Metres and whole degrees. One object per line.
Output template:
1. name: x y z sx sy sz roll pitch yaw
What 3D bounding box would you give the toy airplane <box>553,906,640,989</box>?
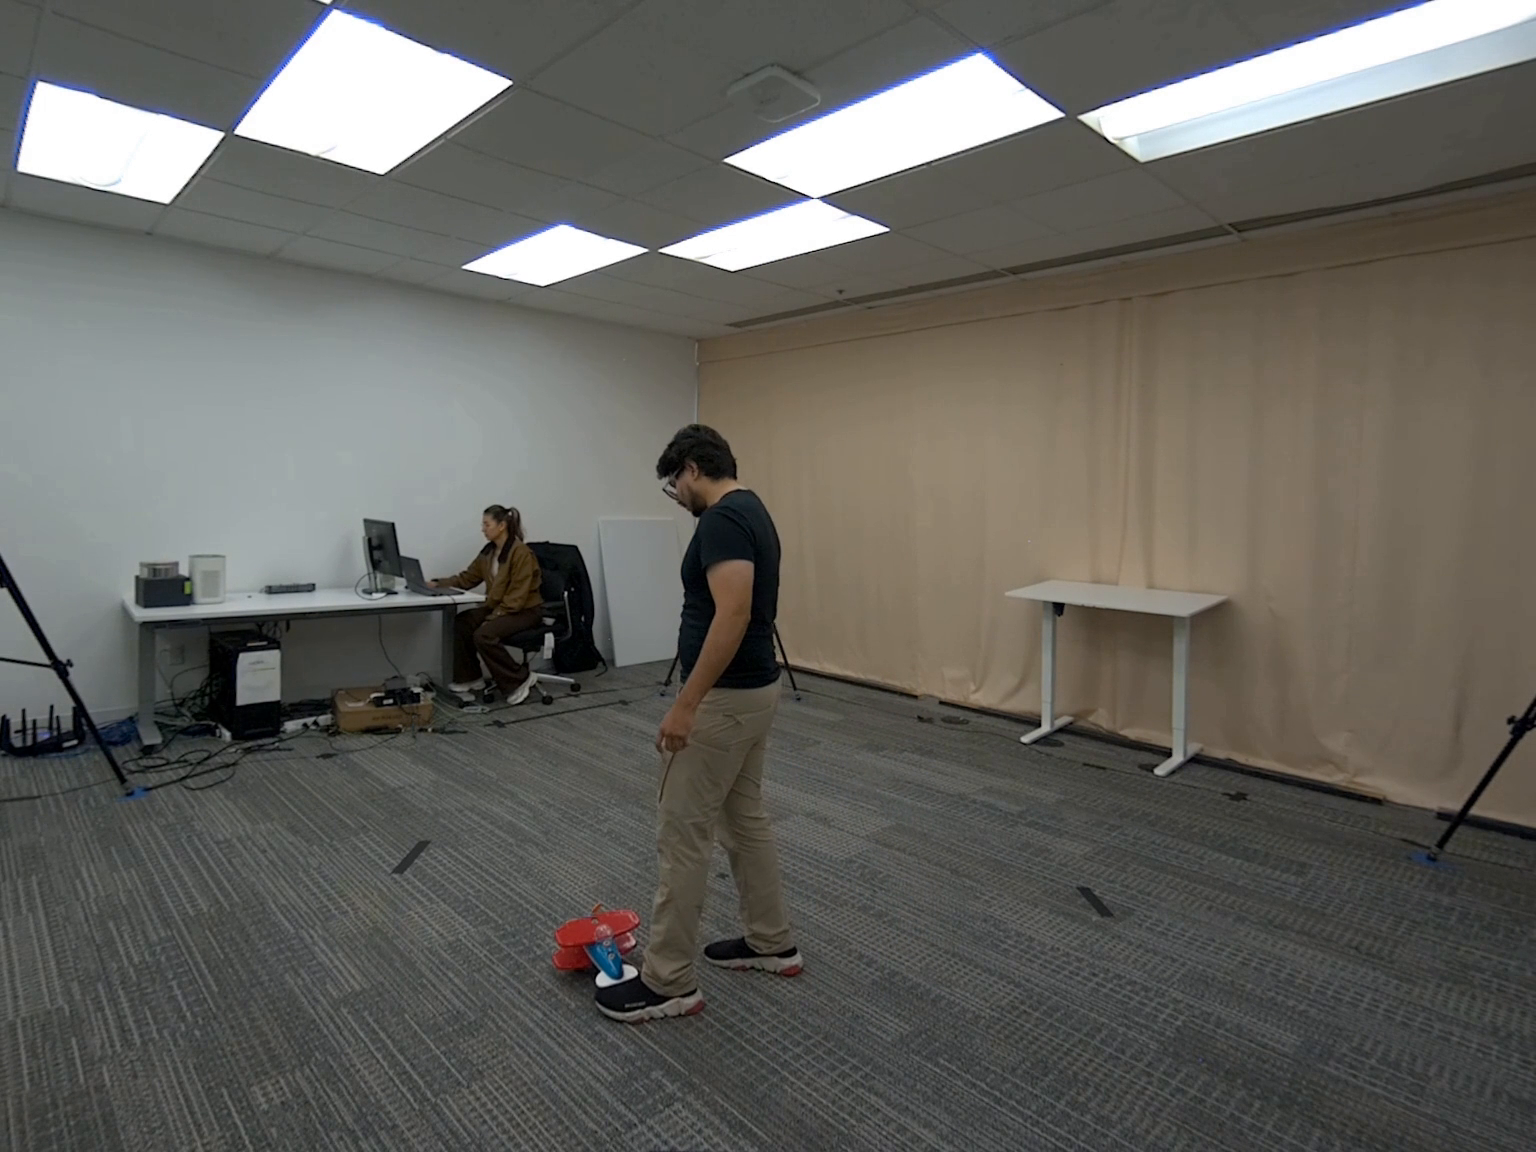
1. toy airplane: -0.473 1.087 2.434 0.265 0.156 0.246 3 6 28
